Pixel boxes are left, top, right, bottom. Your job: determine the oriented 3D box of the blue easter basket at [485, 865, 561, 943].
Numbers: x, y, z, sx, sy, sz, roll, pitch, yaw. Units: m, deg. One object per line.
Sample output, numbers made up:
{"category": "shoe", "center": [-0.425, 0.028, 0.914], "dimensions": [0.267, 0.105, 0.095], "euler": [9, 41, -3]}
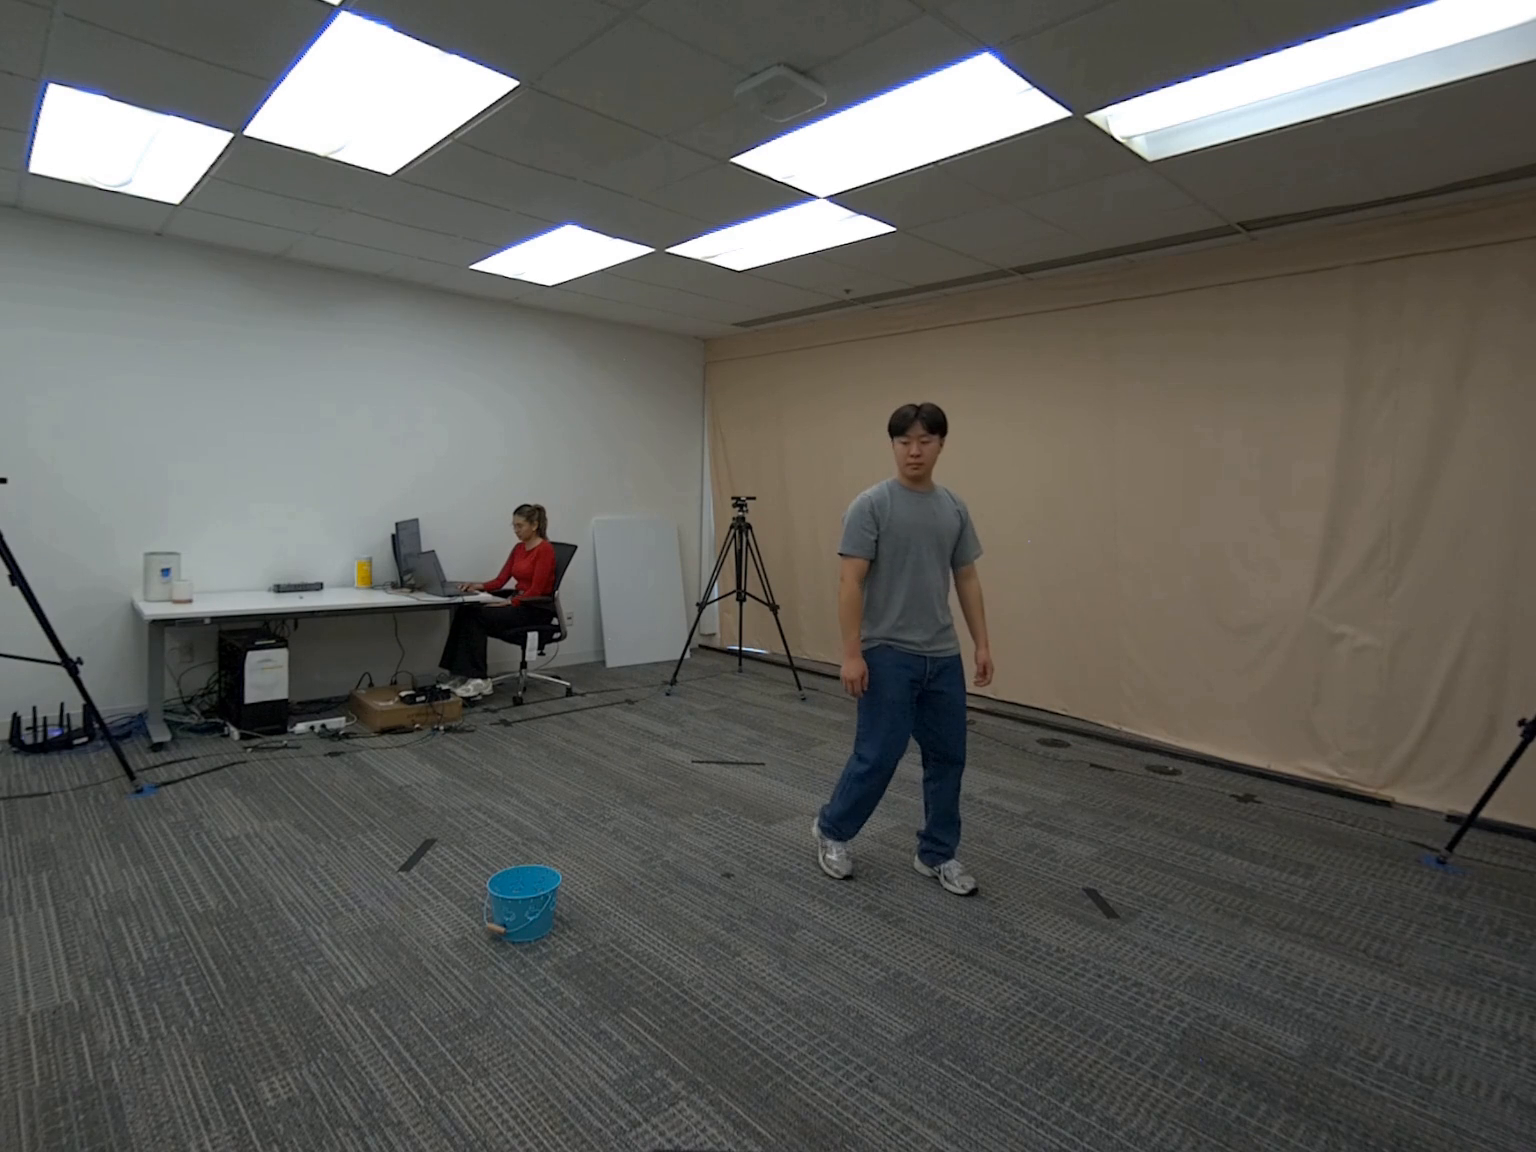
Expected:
{"category": "blue easter basket", "center": [-0.792, 1.051, 2.695], "dimensions": [0.243, 0.155, 0.244], "euler": [2, 5, -2]}
